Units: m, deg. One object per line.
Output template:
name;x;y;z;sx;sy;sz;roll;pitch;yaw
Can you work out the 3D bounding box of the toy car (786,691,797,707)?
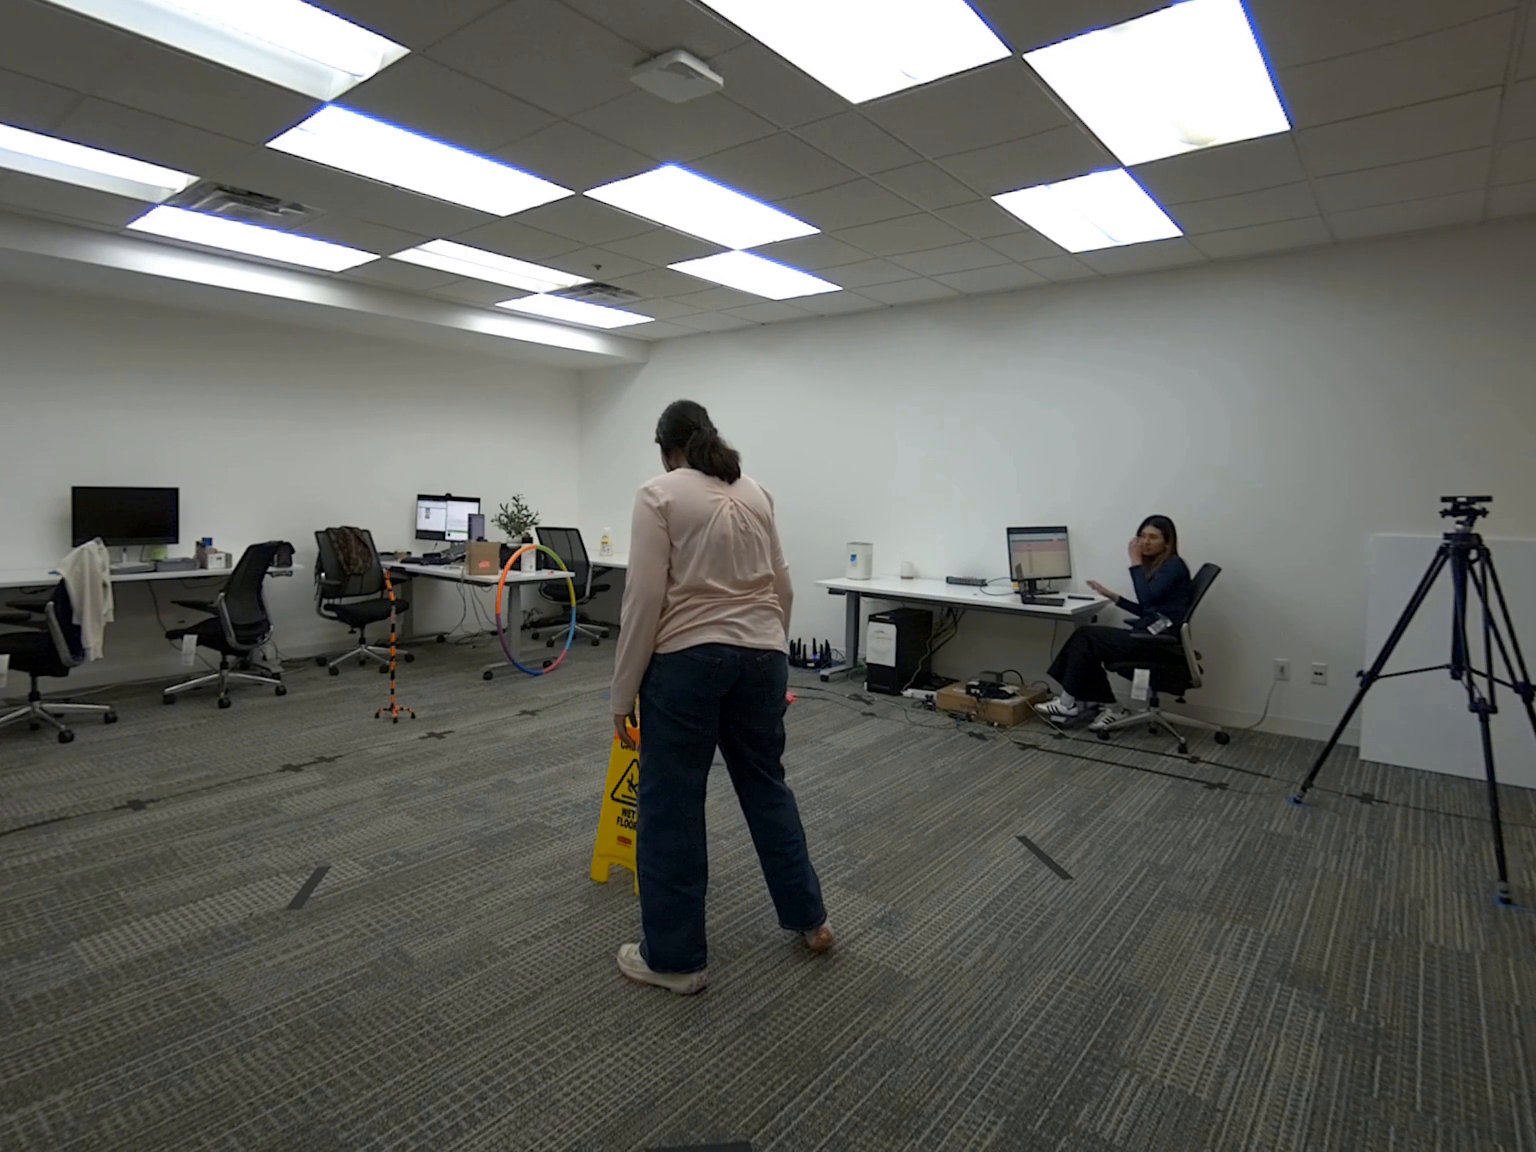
toy car;-0.032;0.379;2.765;0.256;0.083;0.130;5;6;3
